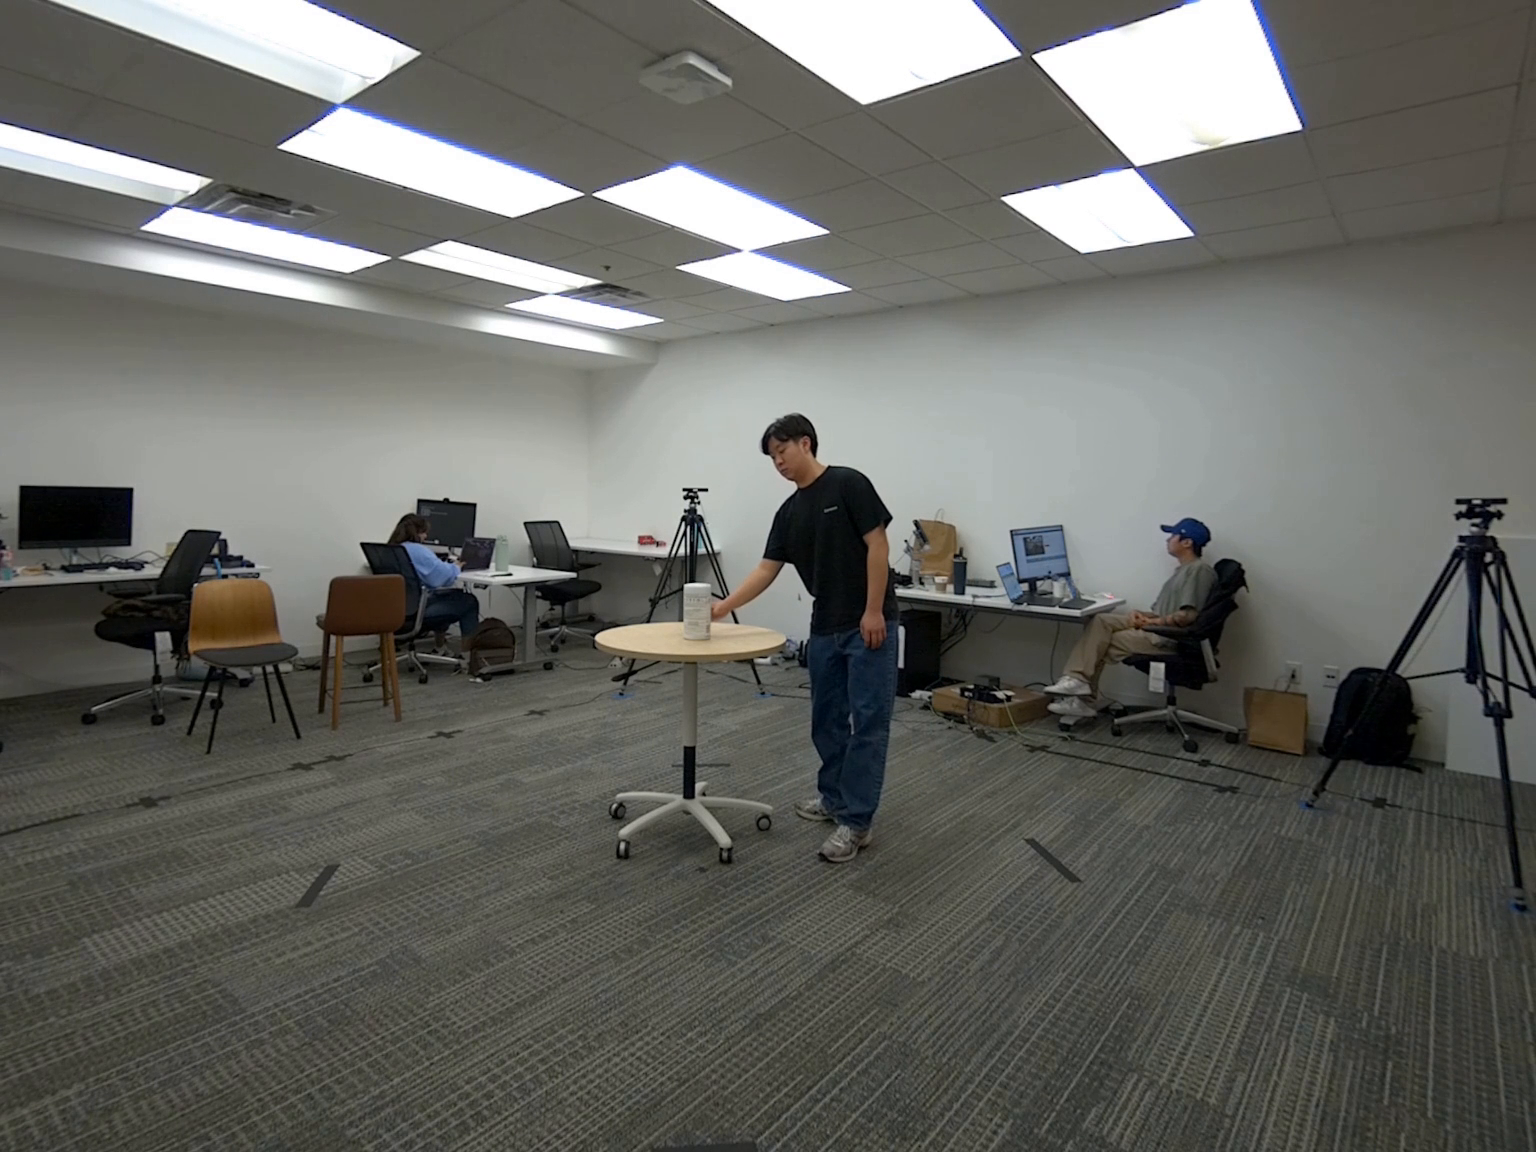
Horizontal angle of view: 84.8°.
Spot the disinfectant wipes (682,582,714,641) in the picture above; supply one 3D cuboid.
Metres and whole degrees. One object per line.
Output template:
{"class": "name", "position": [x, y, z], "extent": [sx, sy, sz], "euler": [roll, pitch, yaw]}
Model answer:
{"class": "disinfectant wipes", "position": [-0.292, 0.138, 3.382], "extent": [0.118, 0.217, 0.118], "euler": [0, 2, -2]}
